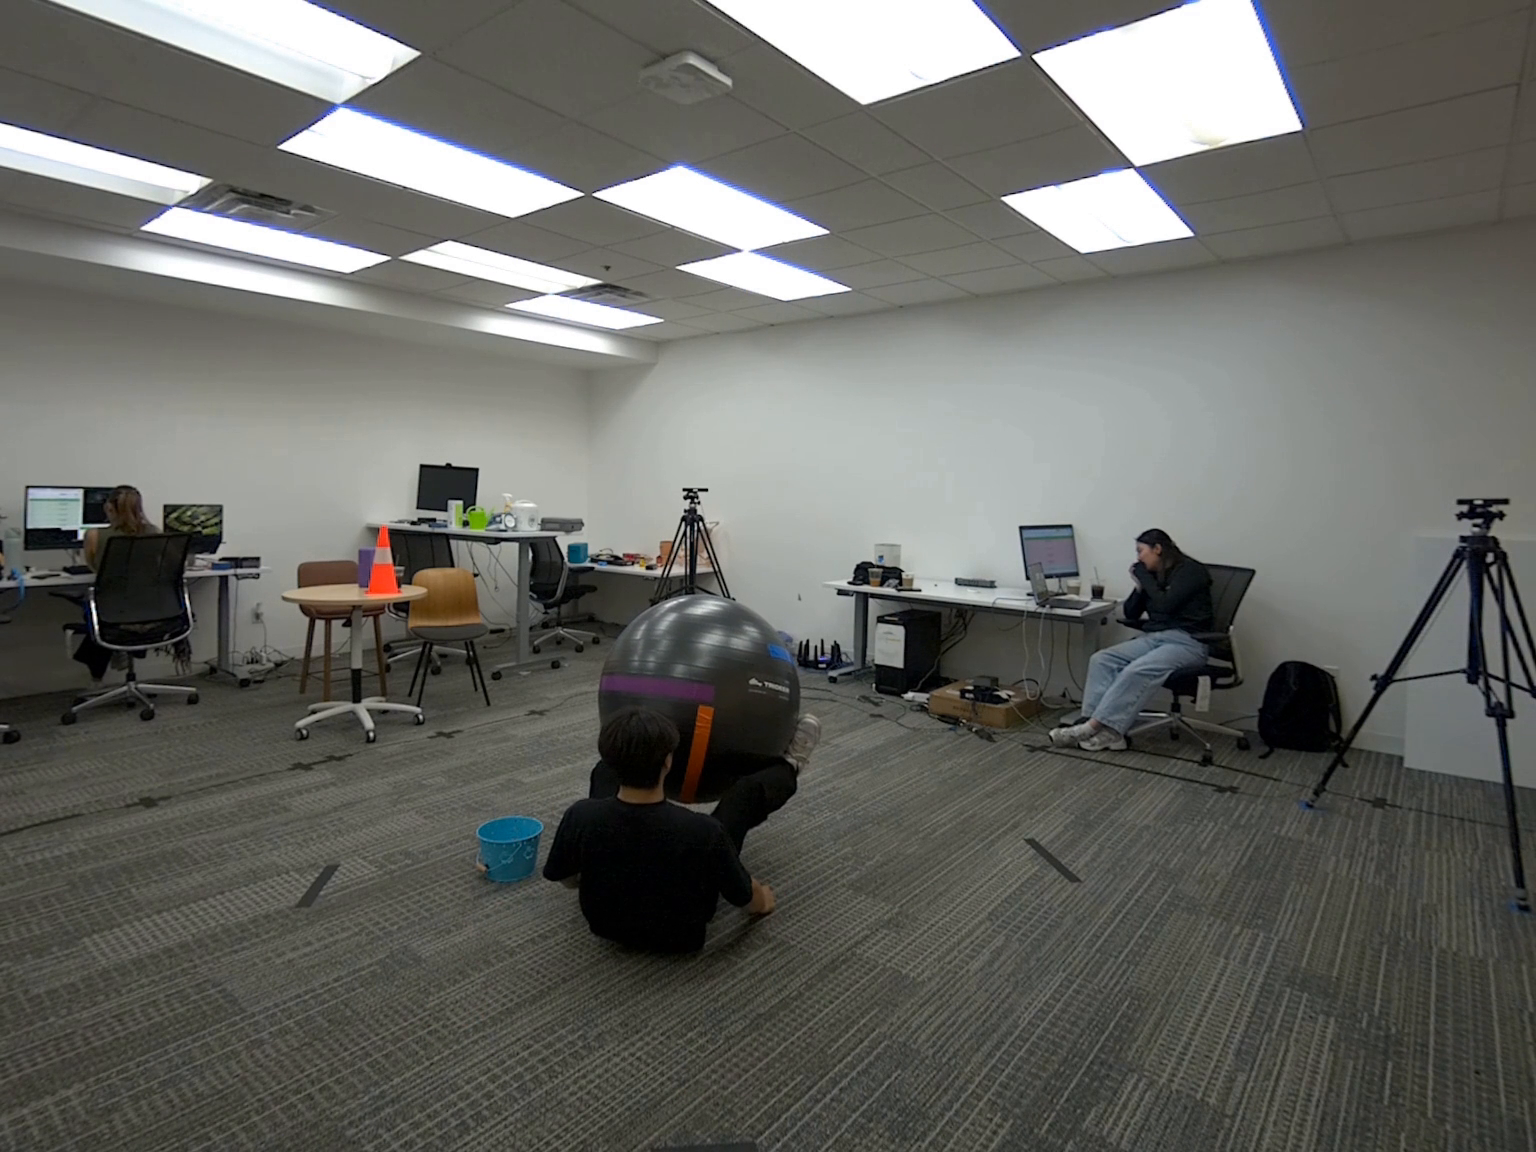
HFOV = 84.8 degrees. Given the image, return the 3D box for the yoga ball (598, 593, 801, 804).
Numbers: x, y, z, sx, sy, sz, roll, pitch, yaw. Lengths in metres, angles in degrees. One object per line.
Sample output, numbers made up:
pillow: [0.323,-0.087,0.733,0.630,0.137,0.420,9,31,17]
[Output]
yoga ball: [-0.268,0.455,3.191,0.757,0.755,0.762,1,4,-2]
